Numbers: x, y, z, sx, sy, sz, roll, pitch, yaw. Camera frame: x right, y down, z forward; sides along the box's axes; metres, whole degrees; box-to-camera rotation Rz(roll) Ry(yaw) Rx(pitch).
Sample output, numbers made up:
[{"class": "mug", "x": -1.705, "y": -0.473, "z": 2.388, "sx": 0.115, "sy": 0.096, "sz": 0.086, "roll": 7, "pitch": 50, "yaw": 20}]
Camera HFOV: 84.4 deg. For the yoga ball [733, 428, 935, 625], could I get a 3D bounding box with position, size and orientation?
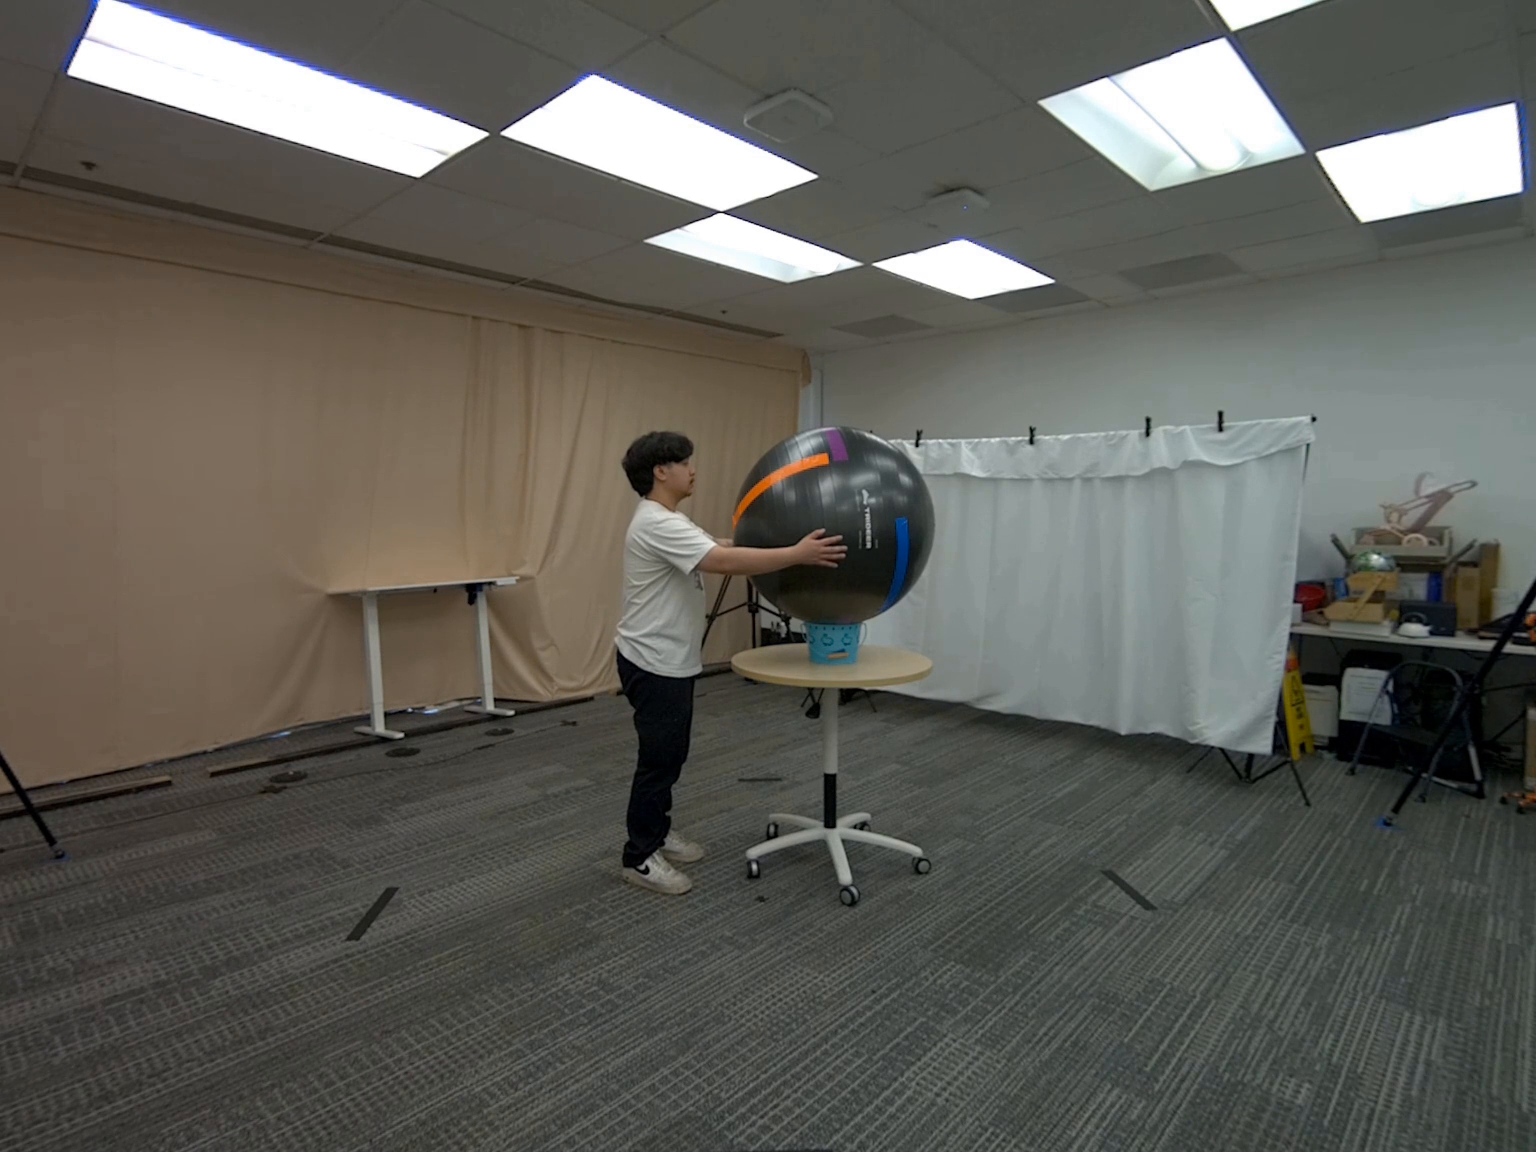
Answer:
[{"class": "yoga ball", "x": 0.253, "y": -0.184, "z": 3.220, "sx": 0.757, "sy": 0.756, "sz": 0.760, "roll": 0, "pitch": 4, "yaw": -2}]
